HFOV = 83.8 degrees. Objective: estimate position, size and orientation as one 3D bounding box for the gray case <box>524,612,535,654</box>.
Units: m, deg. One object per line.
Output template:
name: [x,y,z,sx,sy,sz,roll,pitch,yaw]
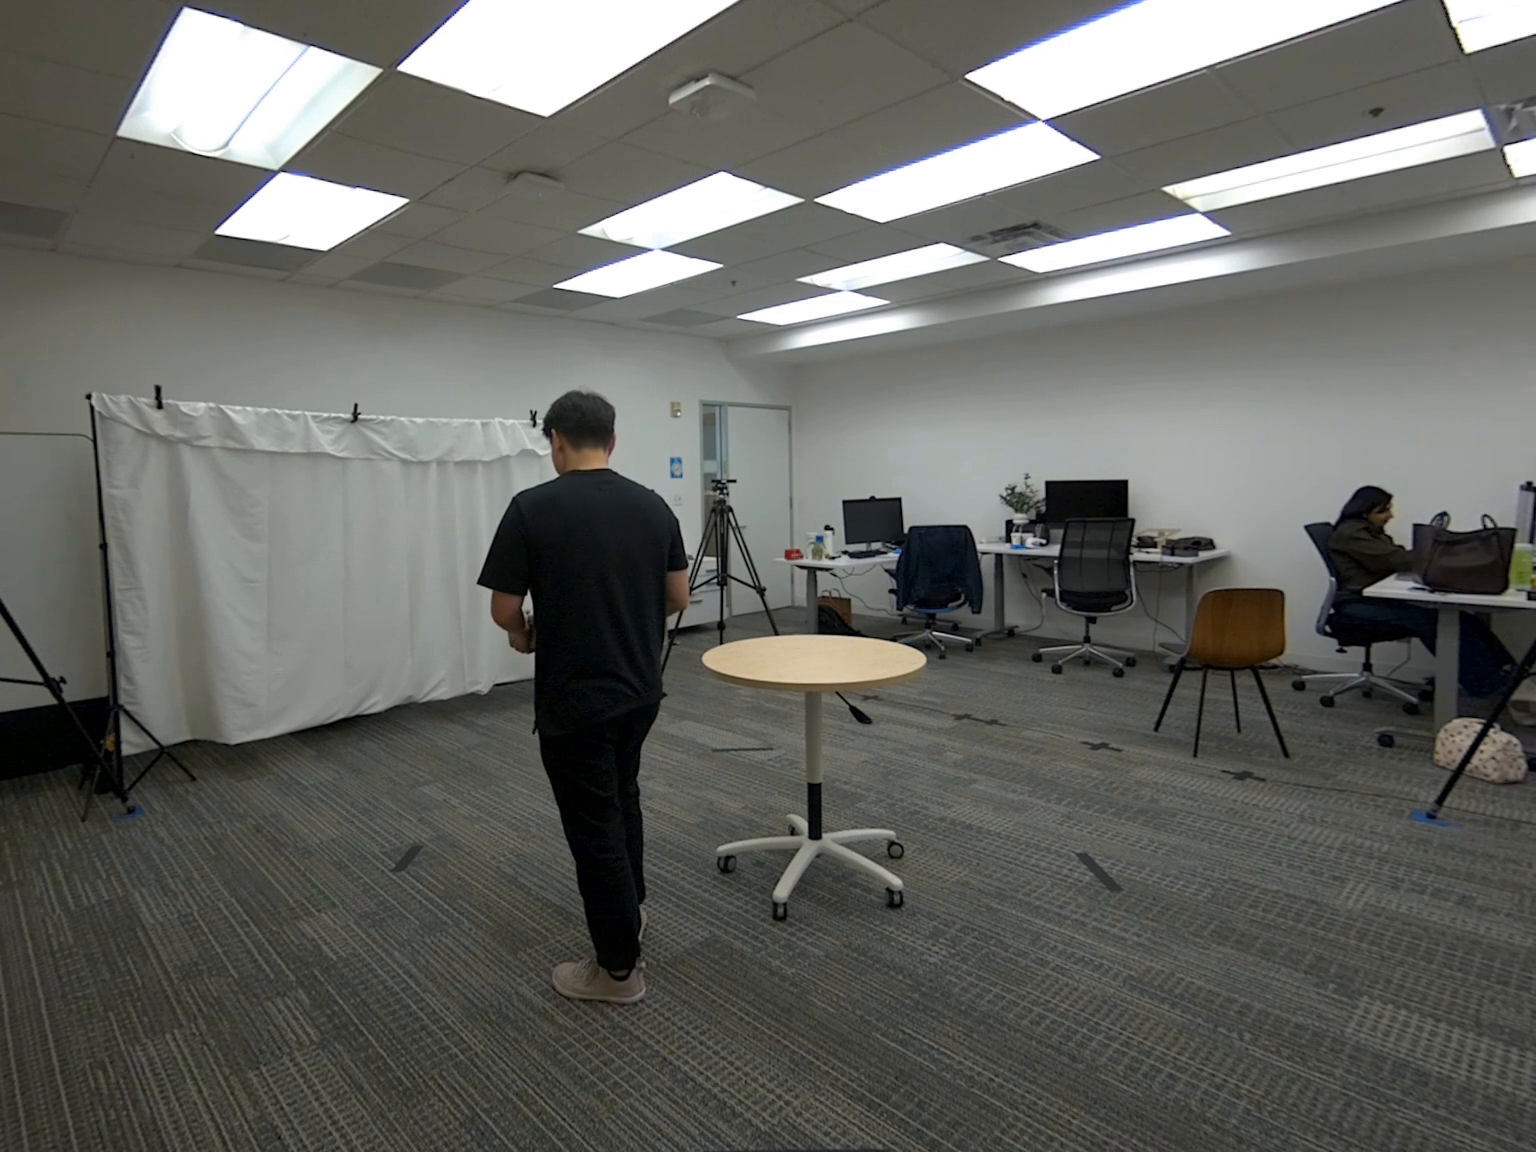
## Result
gray case: [-0.627,0.160,2.591,0.251,0.104,0.266,-2,-2,-31]
